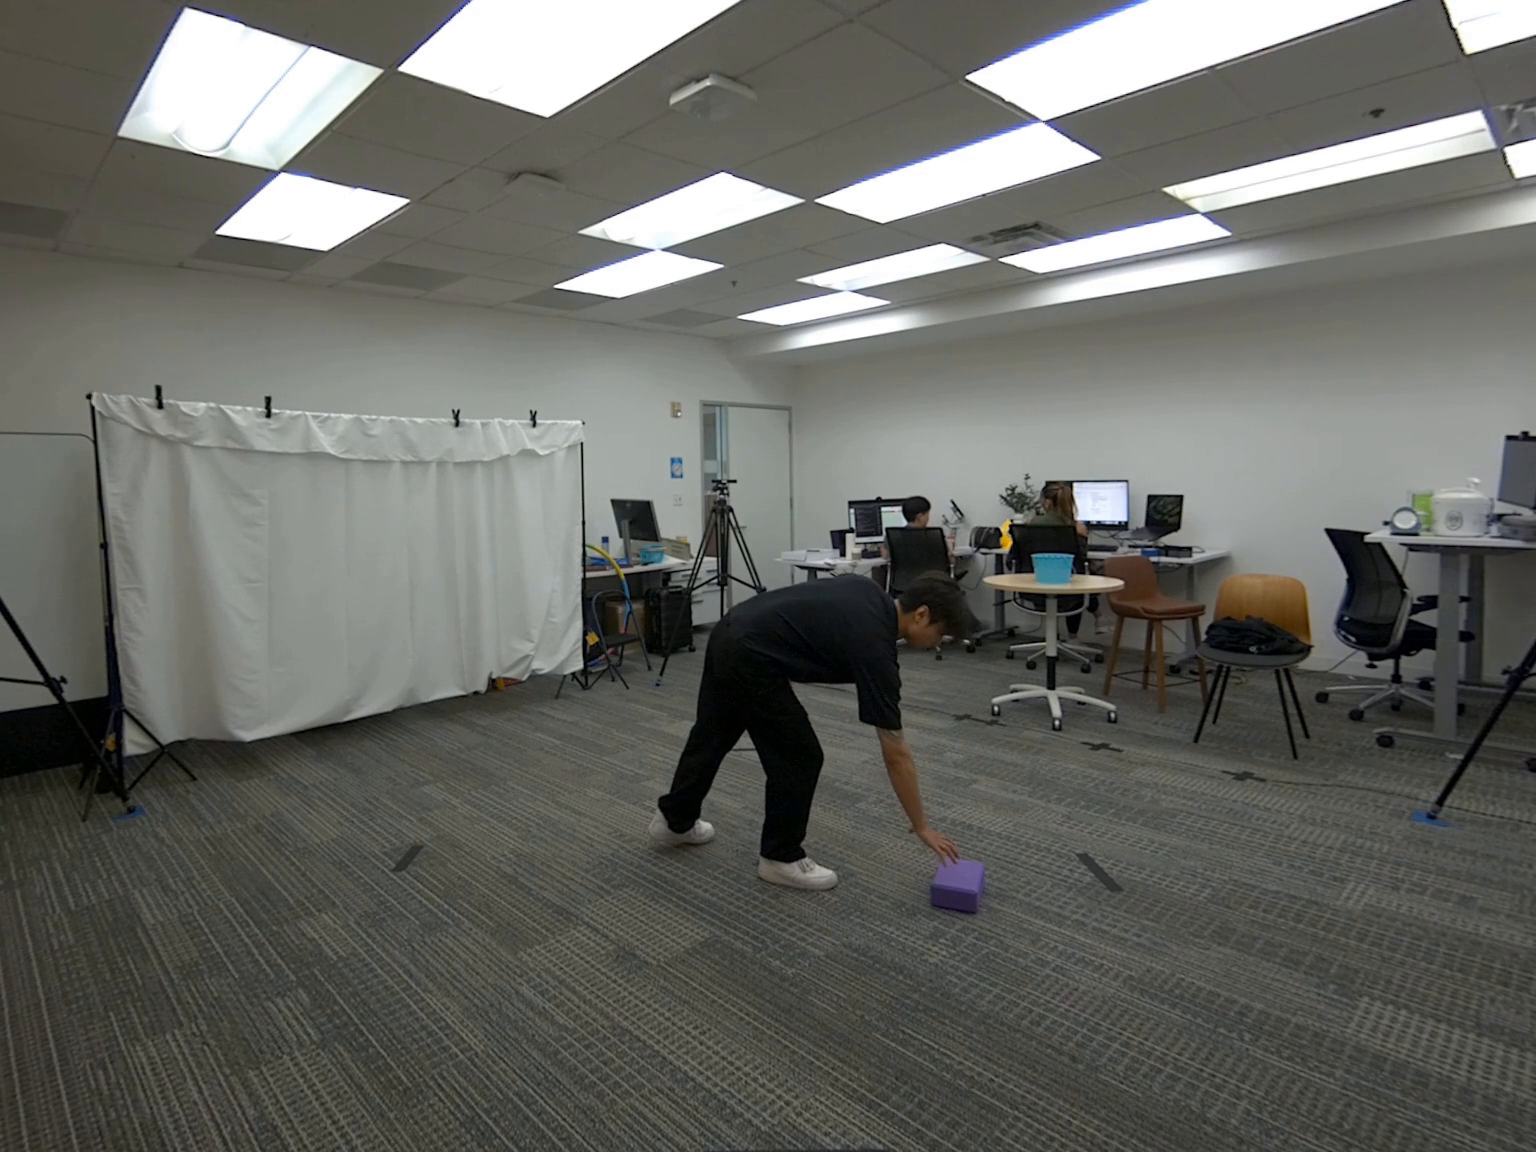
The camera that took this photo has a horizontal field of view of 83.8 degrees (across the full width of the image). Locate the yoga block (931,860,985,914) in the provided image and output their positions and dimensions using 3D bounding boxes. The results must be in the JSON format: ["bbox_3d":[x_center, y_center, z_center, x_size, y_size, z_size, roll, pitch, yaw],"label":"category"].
[{"bbox_3d":[0.636,1.024,2.844,0.152,0.076,0.226,1,7,21],"label":"yoga block"}]
